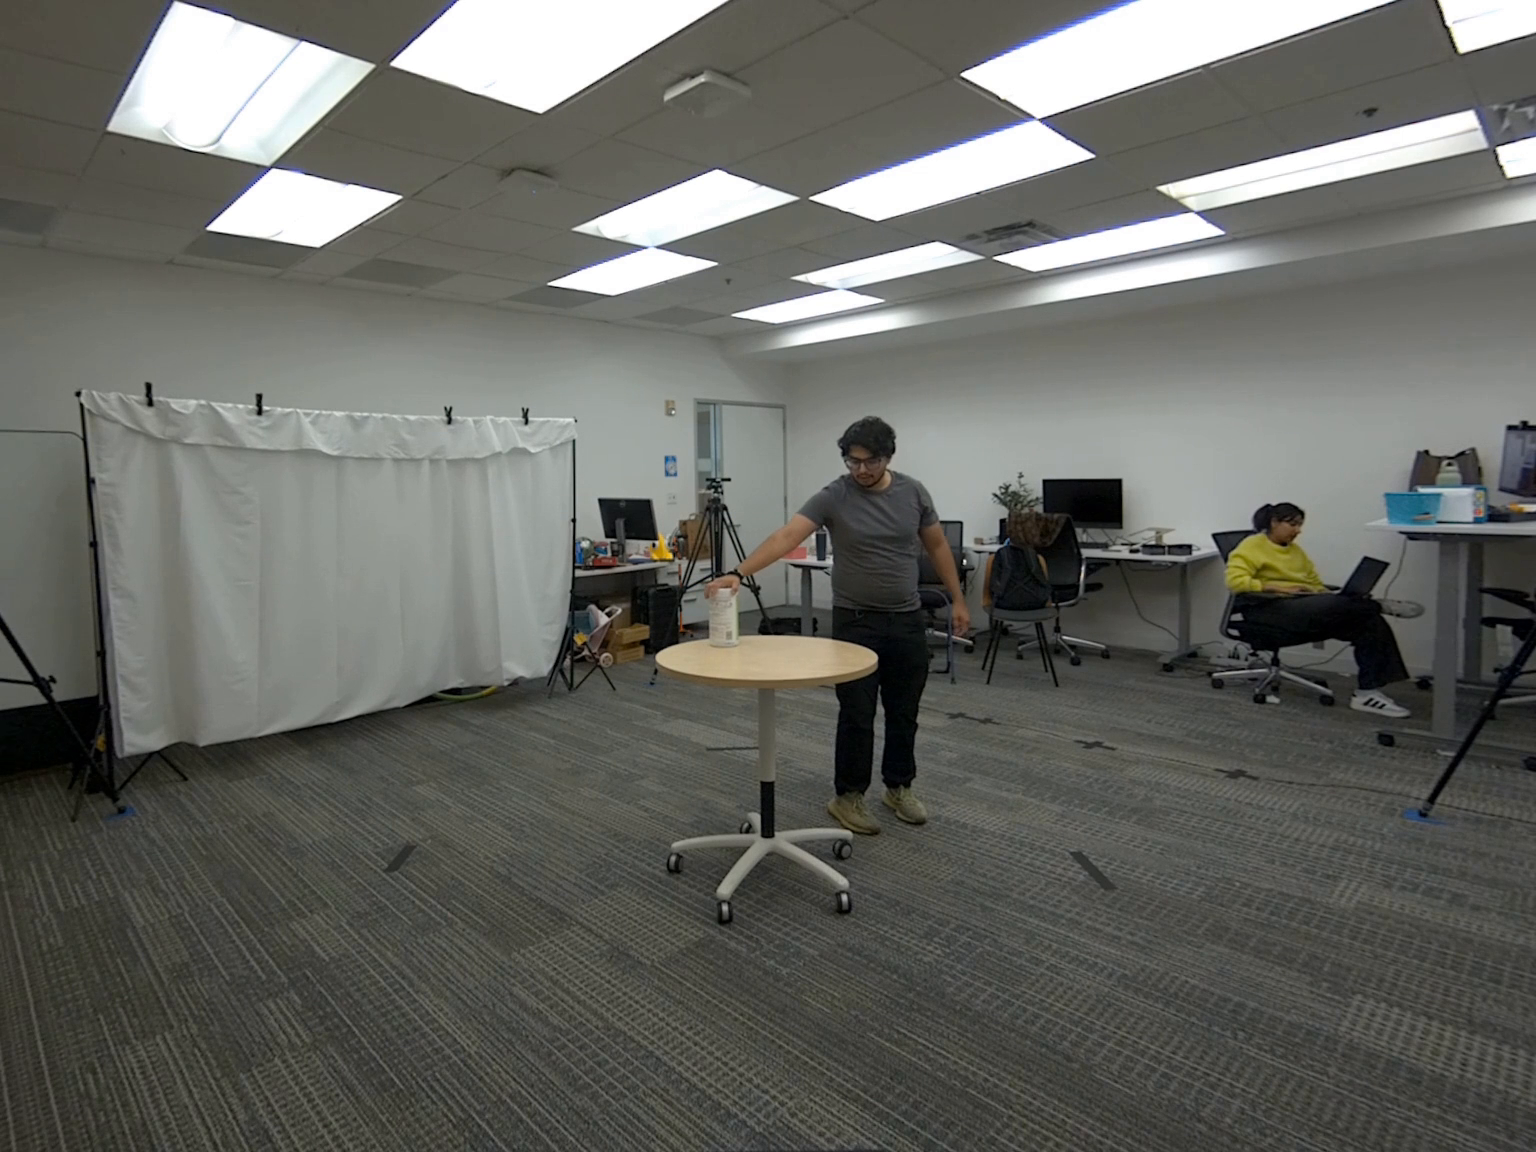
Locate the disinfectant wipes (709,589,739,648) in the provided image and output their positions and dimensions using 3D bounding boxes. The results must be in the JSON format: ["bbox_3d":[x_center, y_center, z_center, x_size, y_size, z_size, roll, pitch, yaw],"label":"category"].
[{"bbox_3d":[-0.156,0.150,3.155,0.118,0.217,0.118,0,2,-2],"label":"disinfectant wipes"}]
